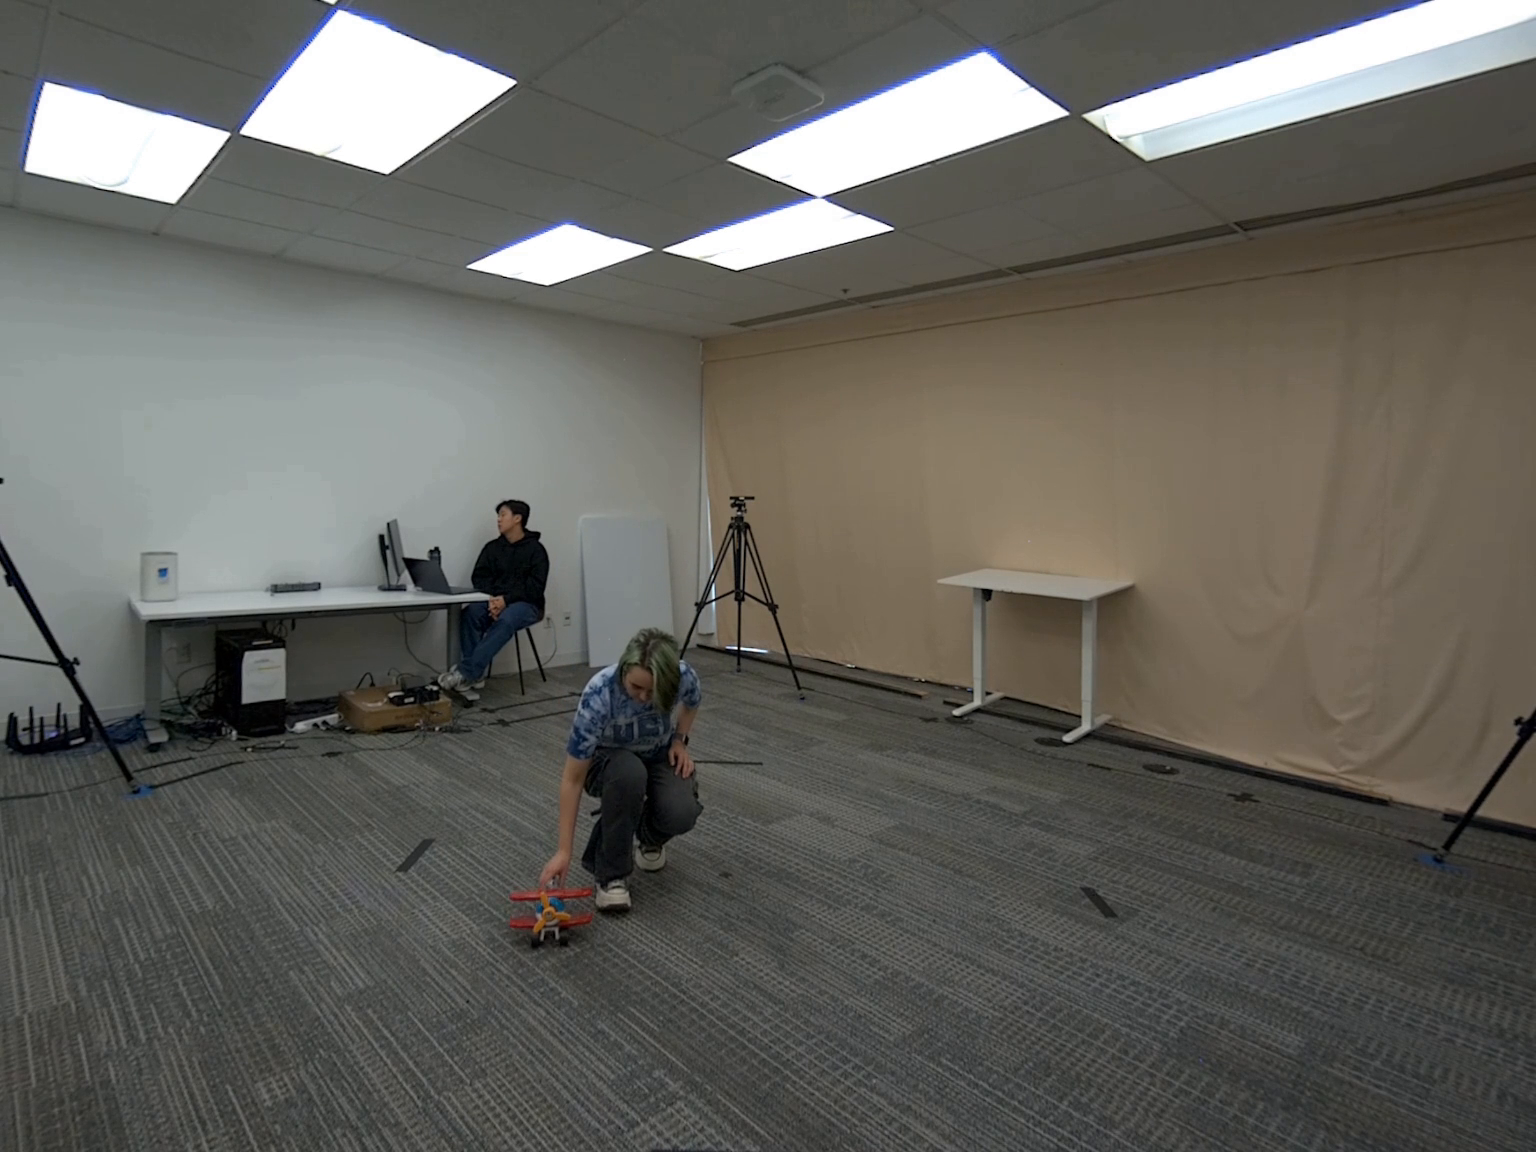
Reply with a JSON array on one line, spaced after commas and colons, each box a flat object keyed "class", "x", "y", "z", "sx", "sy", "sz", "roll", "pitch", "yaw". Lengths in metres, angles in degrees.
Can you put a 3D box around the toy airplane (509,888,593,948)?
[{"class": "toy airplane", "x": -0.713, "y": 1.063, "z": 2.661, "sx": 0.245, "sy": 0.156, "sz": 0.265, "roll": -2, "pitch": 4, "yaw": -37}]
